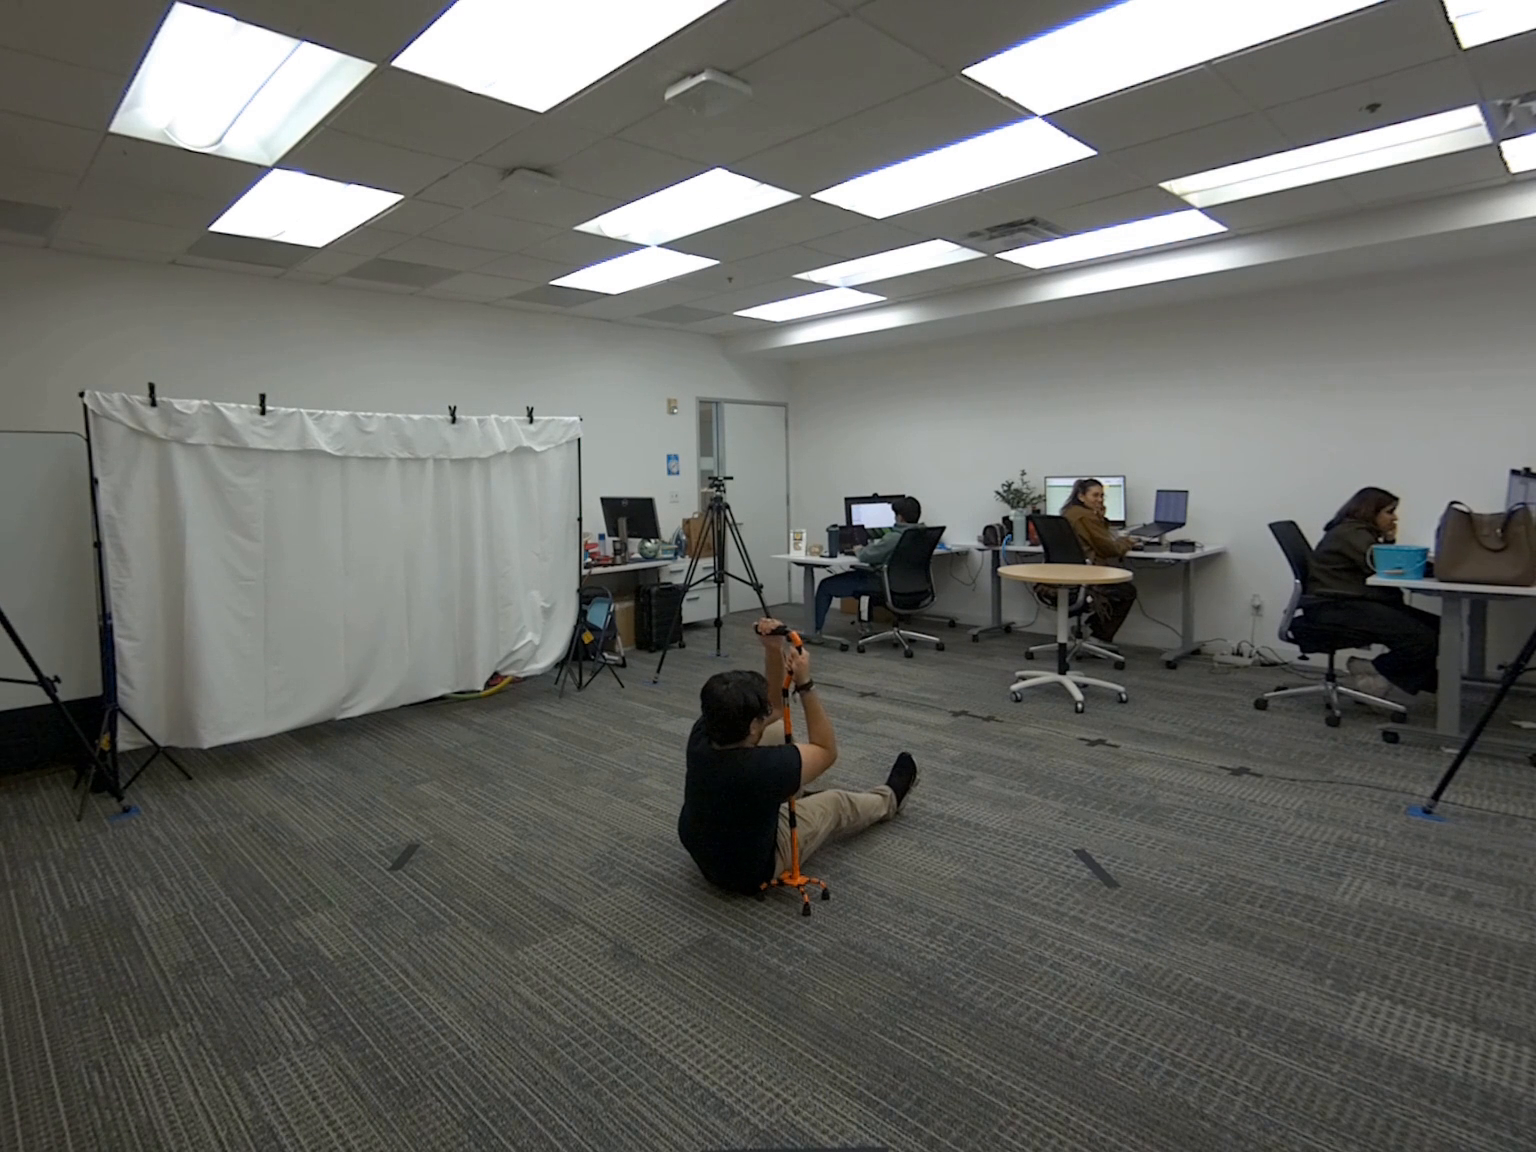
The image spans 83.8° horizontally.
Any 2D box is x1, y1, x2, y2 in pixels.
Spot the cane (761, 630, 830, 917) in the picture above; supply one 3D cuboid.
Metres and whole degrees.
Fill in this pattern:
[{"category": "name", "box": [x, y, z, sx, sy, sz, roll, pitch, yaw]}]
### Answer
[{"category": "cane", "box": [0.065, 0.609, 2.789, 0.212, 0.904, 0.148, 2, 5, 35]}]
